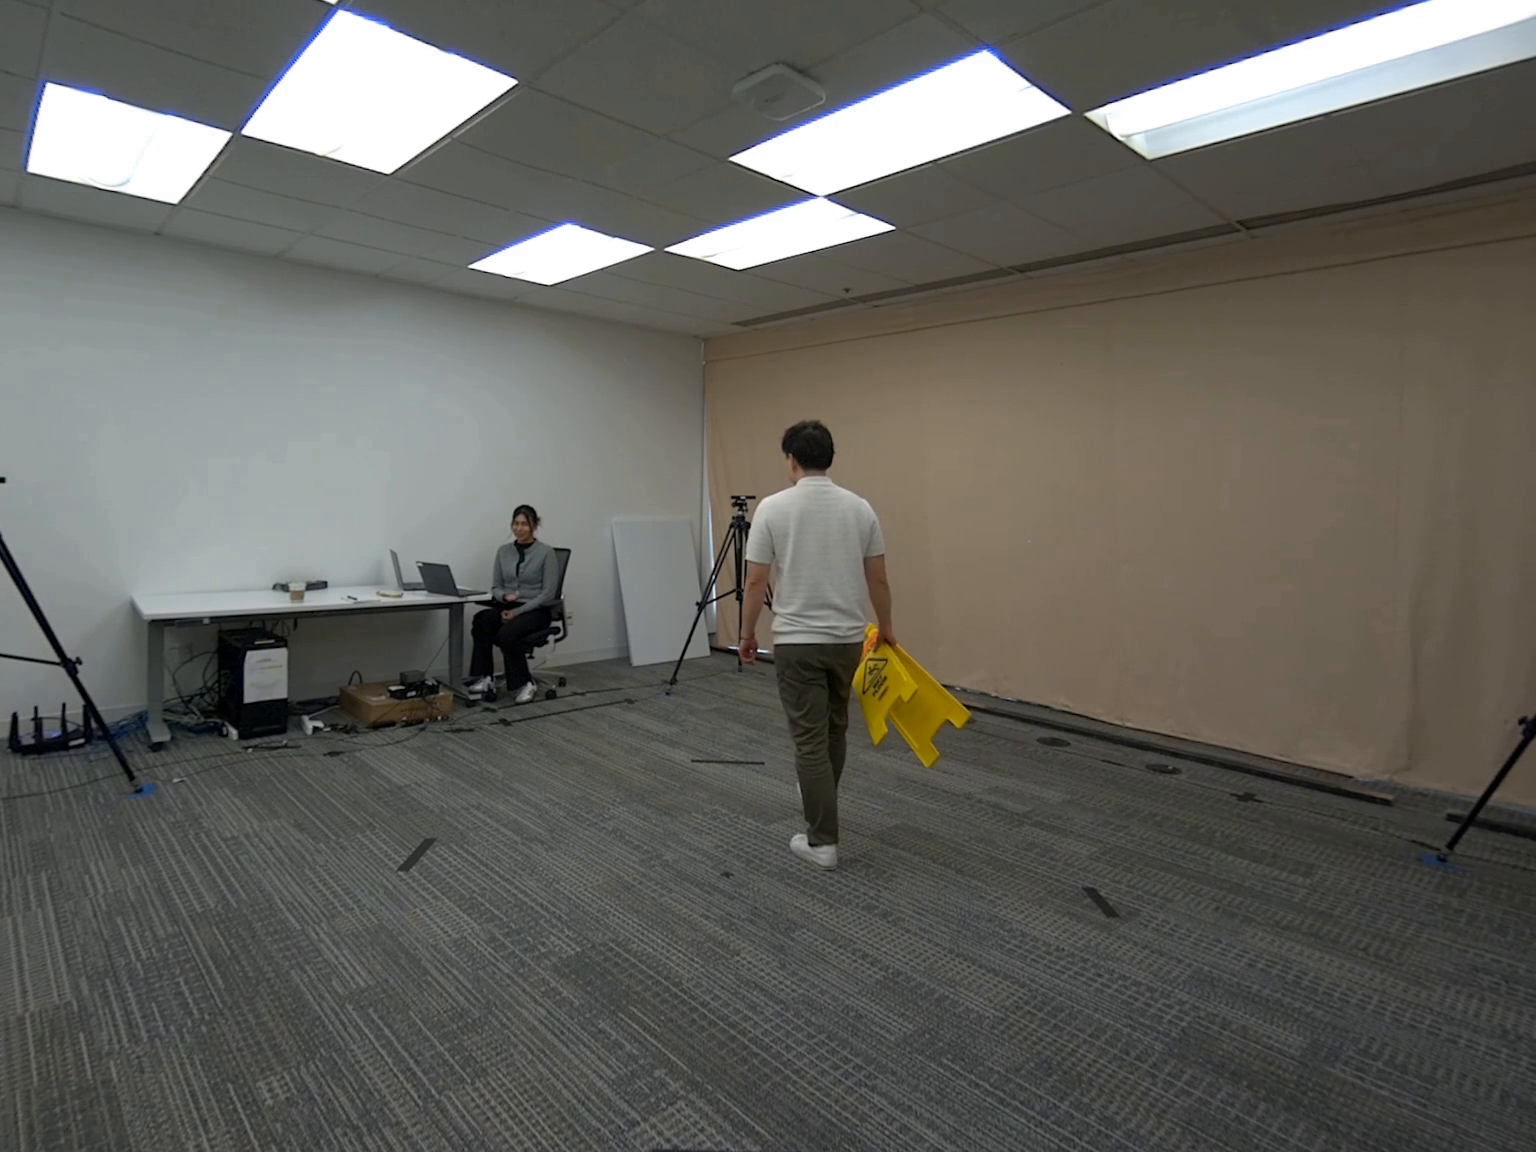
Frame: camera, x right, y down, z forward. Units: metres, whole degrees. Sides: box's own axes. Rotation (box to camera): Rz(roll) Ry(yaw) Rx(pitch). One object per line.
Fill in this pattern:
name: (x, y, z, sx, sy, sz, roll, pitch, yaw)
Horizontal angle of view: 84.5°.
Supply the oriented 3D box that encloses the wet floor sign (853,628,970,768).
wet floor sign: (0.480, 0.428, 3.426, 0.282, 0.281, 0.664, 27, 16, -28)
